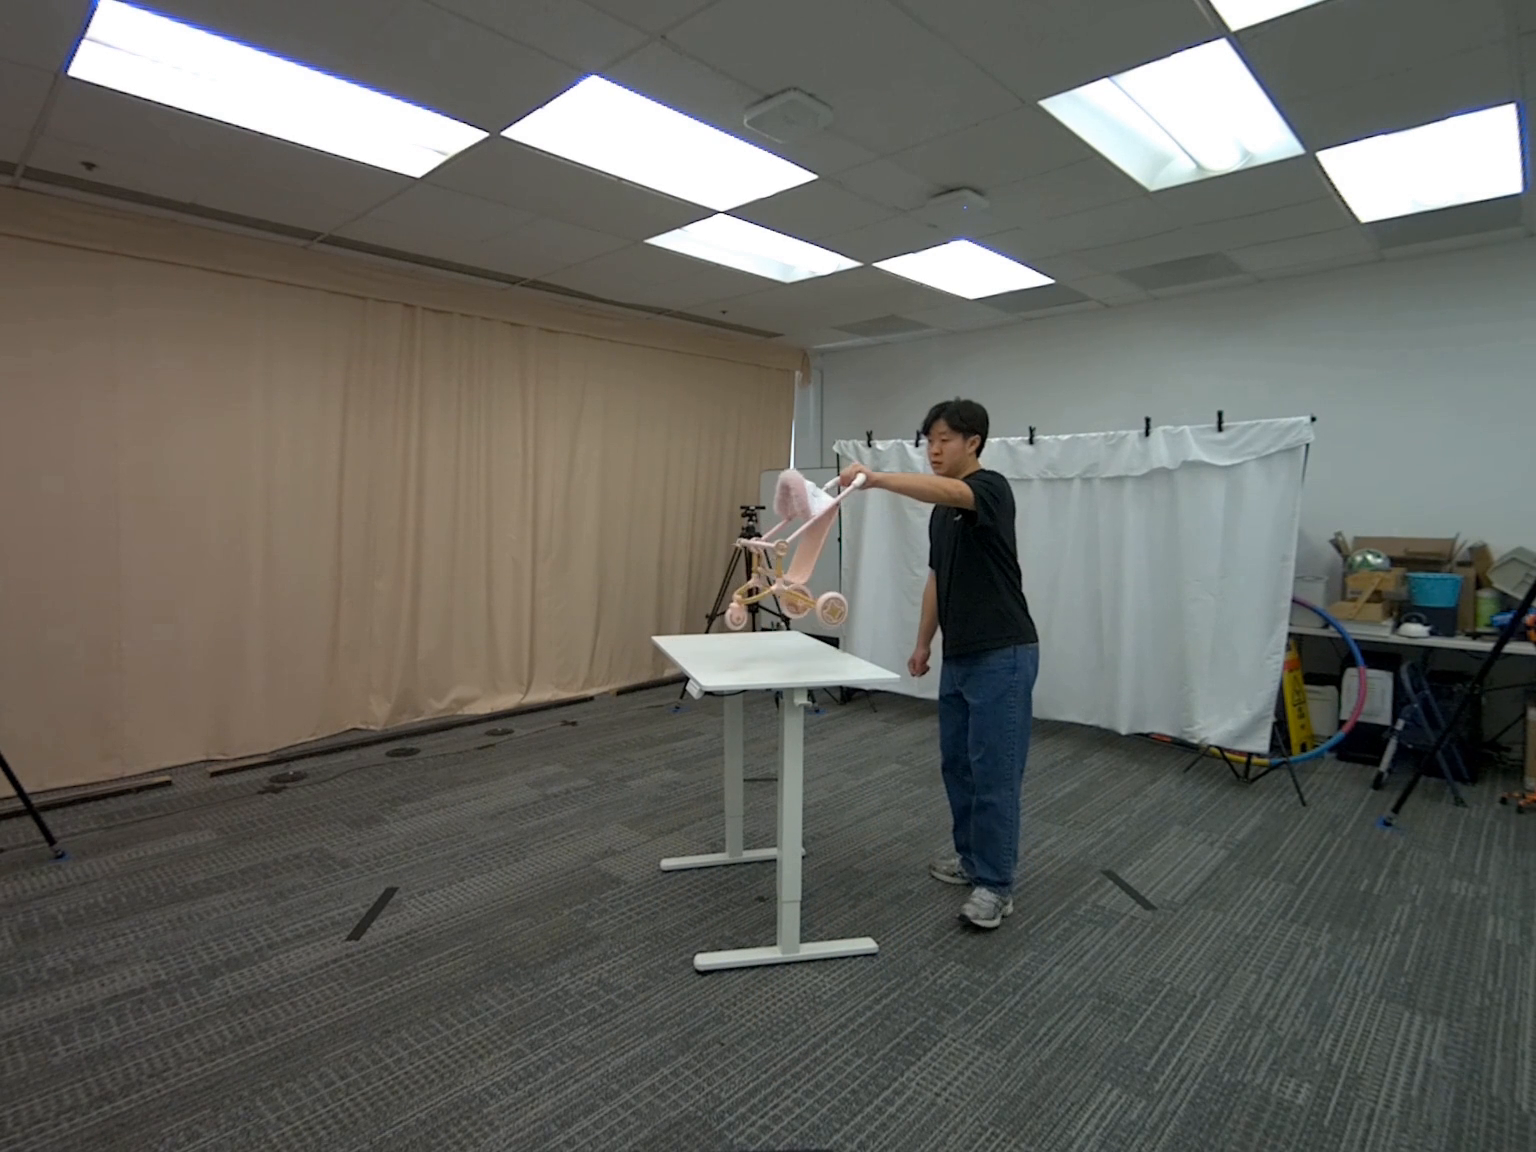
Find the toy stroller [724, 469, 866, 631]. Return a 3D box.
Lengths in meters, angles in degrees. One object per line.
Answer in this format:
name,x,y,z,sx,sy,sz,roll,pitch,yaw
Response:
toy stroller,0.069,-0.073,2.543,0.336,0.535,0.286,10,0,-14
